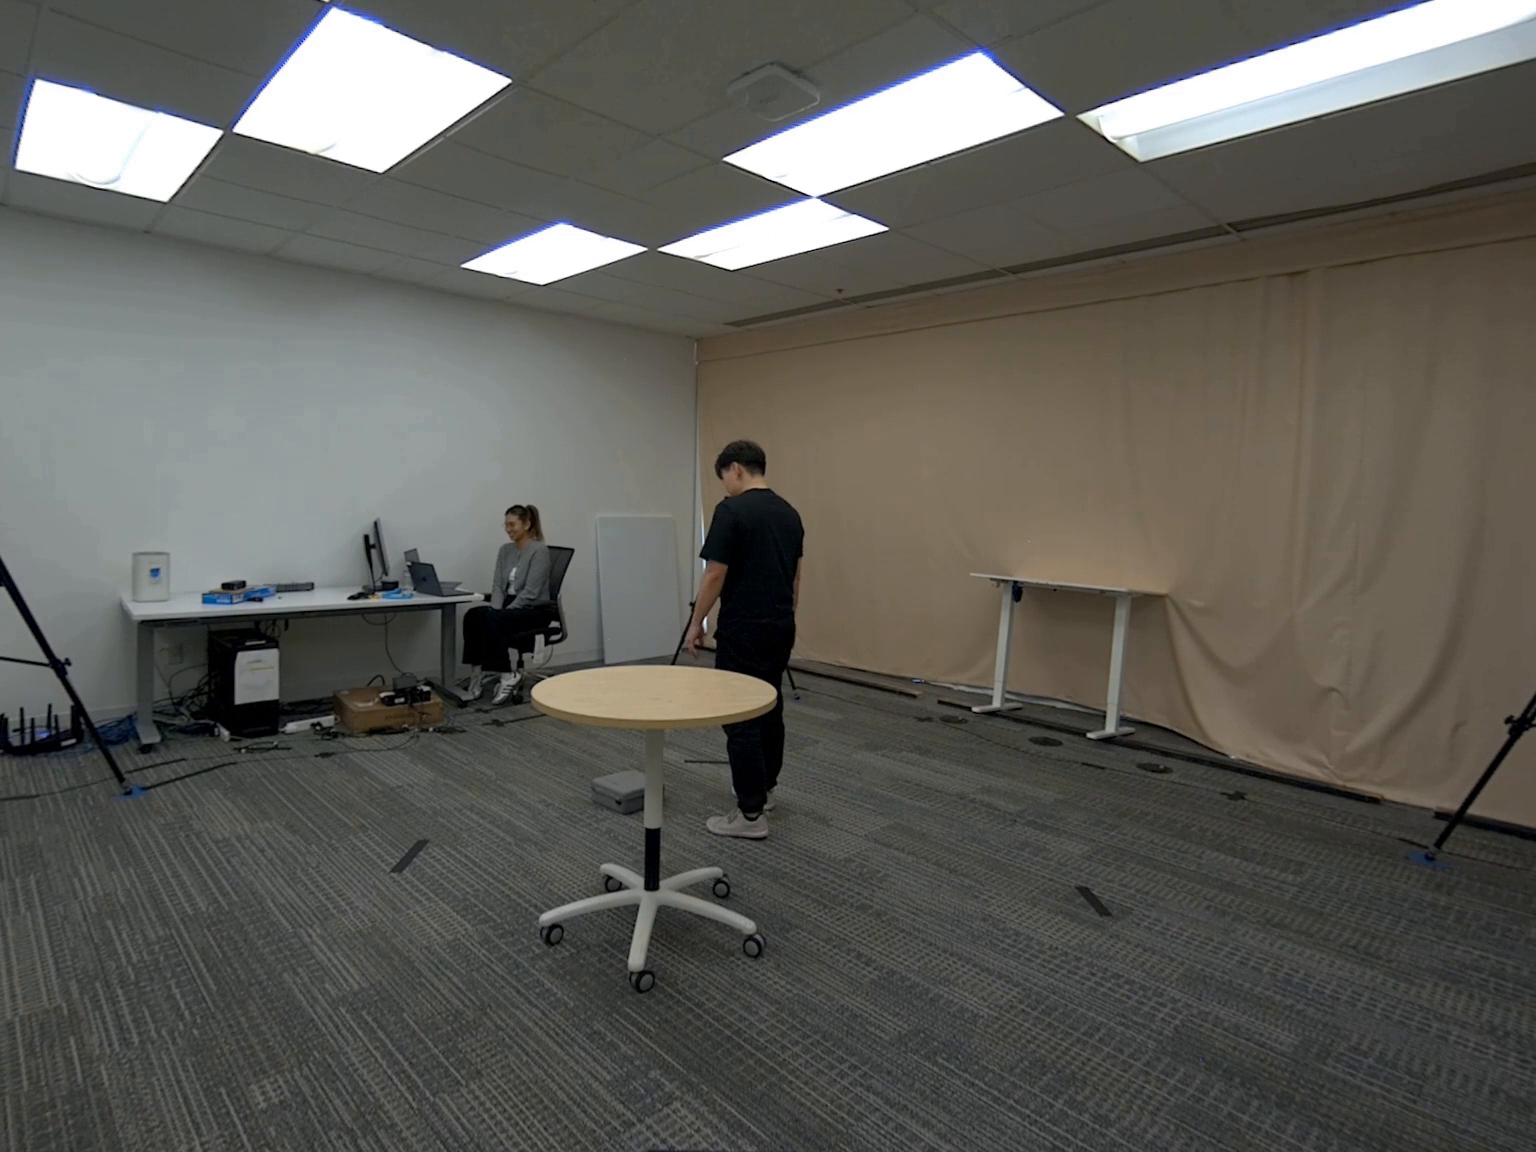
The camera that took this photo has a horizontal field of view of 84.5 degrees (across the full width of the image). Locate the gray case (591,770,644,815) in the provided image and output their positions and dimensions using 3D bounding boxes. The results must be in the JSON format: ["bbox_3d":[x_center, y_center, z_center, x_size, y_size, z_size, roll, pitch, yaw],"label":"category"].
[{"bbox_3d":[-0.649,0.974,3.828,0.263,0.104,0.255,5,5,40],"label":"gray case"}]
